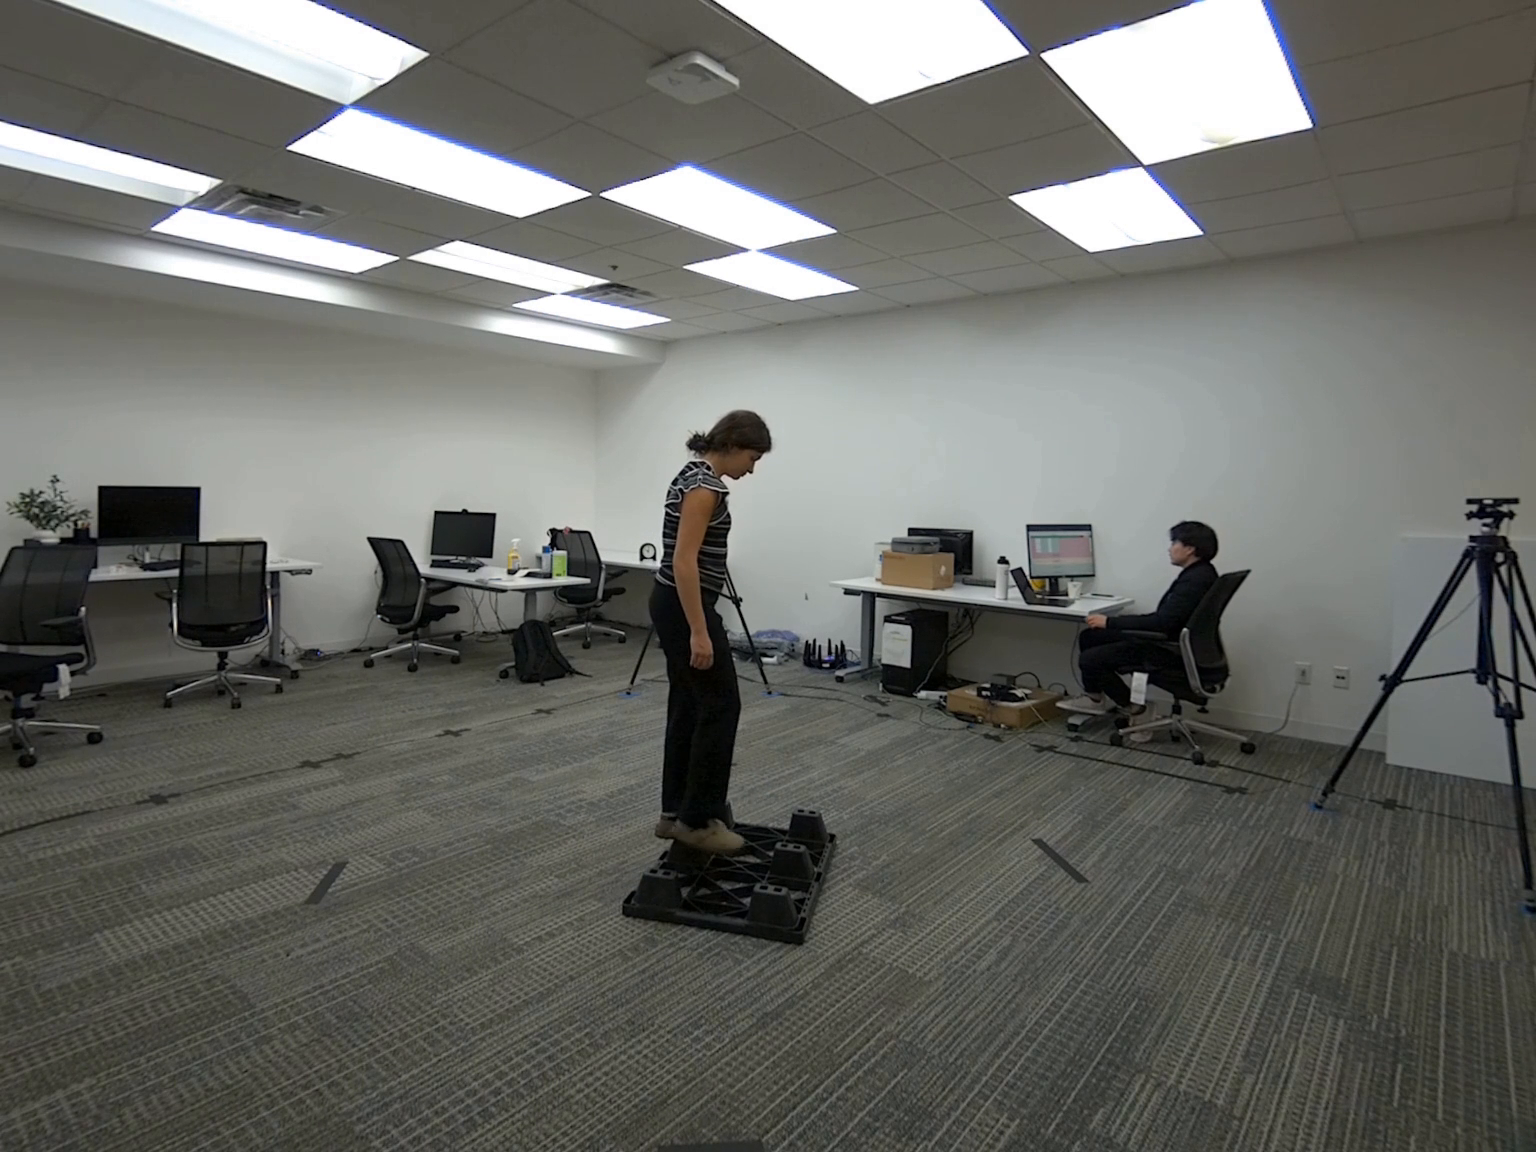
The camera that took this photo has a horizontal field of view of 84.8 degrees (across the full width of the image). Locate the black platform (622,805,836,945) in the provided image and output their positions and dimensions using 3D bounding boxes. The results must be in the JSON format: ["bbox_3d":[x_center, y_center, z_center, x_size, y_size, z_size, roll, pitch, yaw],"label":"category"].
[{"bbox_3d":[-0.114,1.008,3.054,0.615,0.143,0.796,3,6,13],"label":"black platform"}]
